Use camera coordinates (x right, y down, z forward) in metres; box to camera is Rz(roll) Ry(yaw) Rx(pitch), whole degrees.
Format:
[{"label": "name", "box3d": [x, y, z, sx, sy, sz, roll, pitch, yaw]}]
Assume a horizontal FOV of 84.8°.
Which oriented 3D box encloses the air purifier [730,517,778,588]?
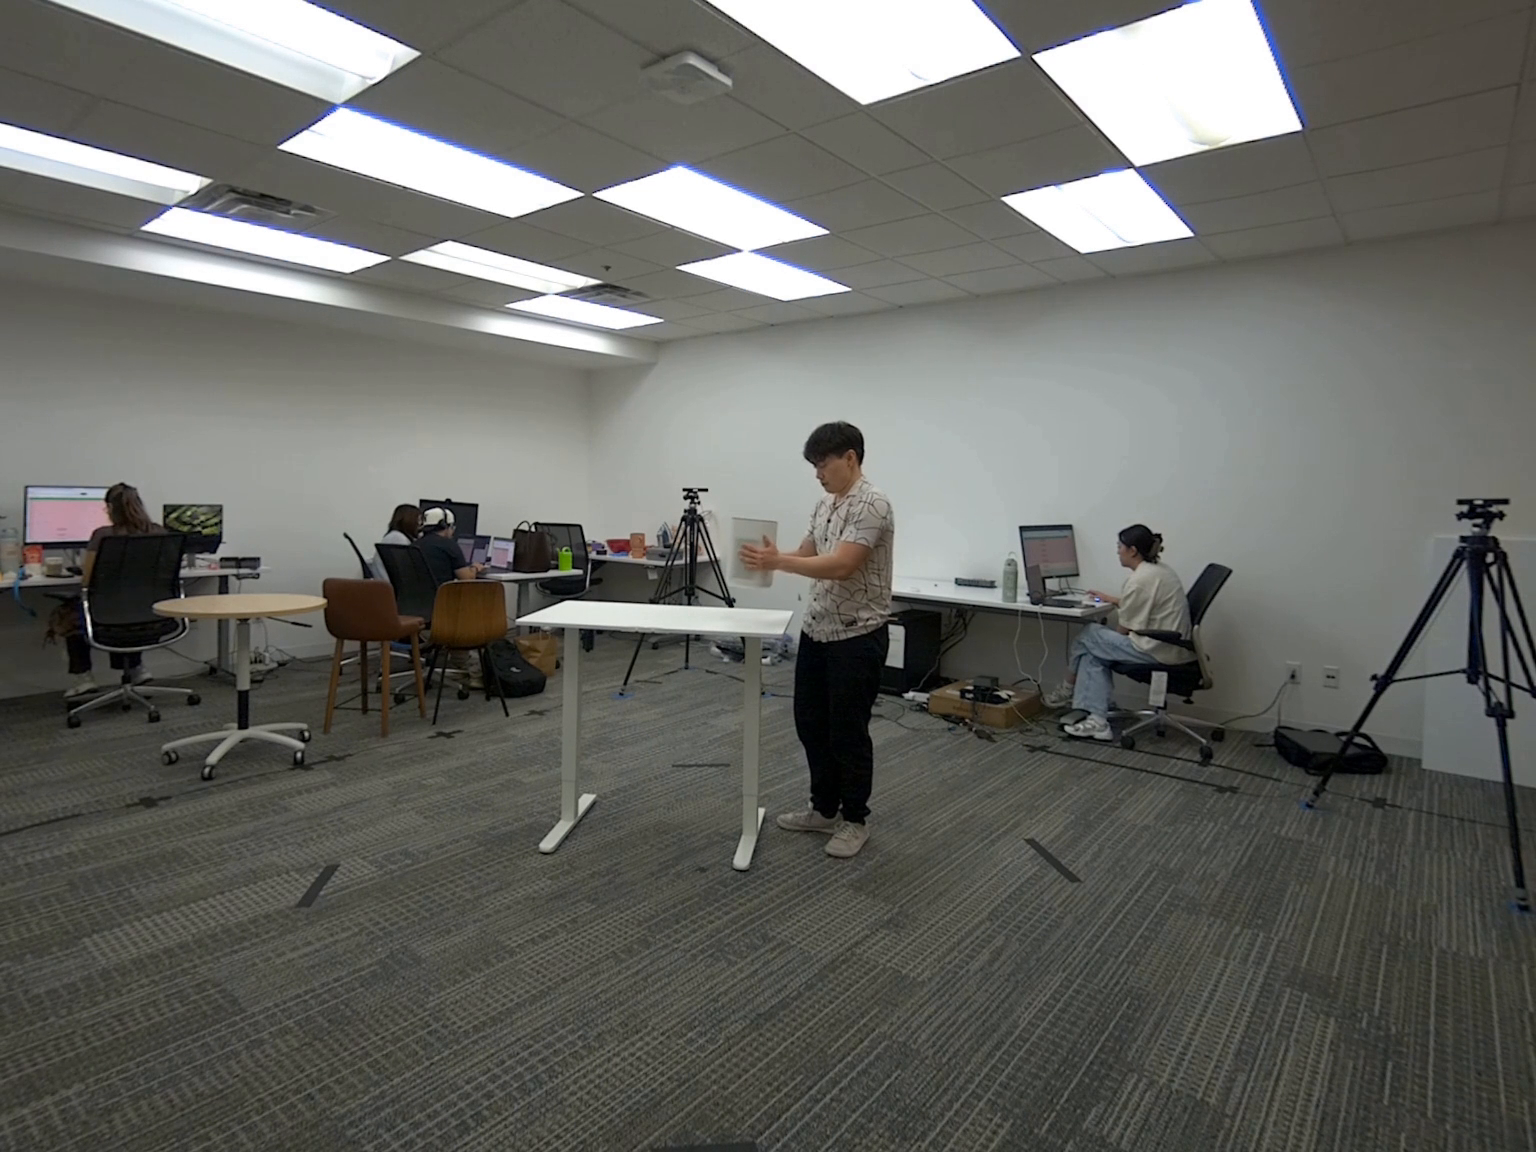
[{"label": "air purifier", "box3d": [-0.067, -0.090, 3.322, 0.174, 0.265, 0.168, 5, 0, 14]}]
